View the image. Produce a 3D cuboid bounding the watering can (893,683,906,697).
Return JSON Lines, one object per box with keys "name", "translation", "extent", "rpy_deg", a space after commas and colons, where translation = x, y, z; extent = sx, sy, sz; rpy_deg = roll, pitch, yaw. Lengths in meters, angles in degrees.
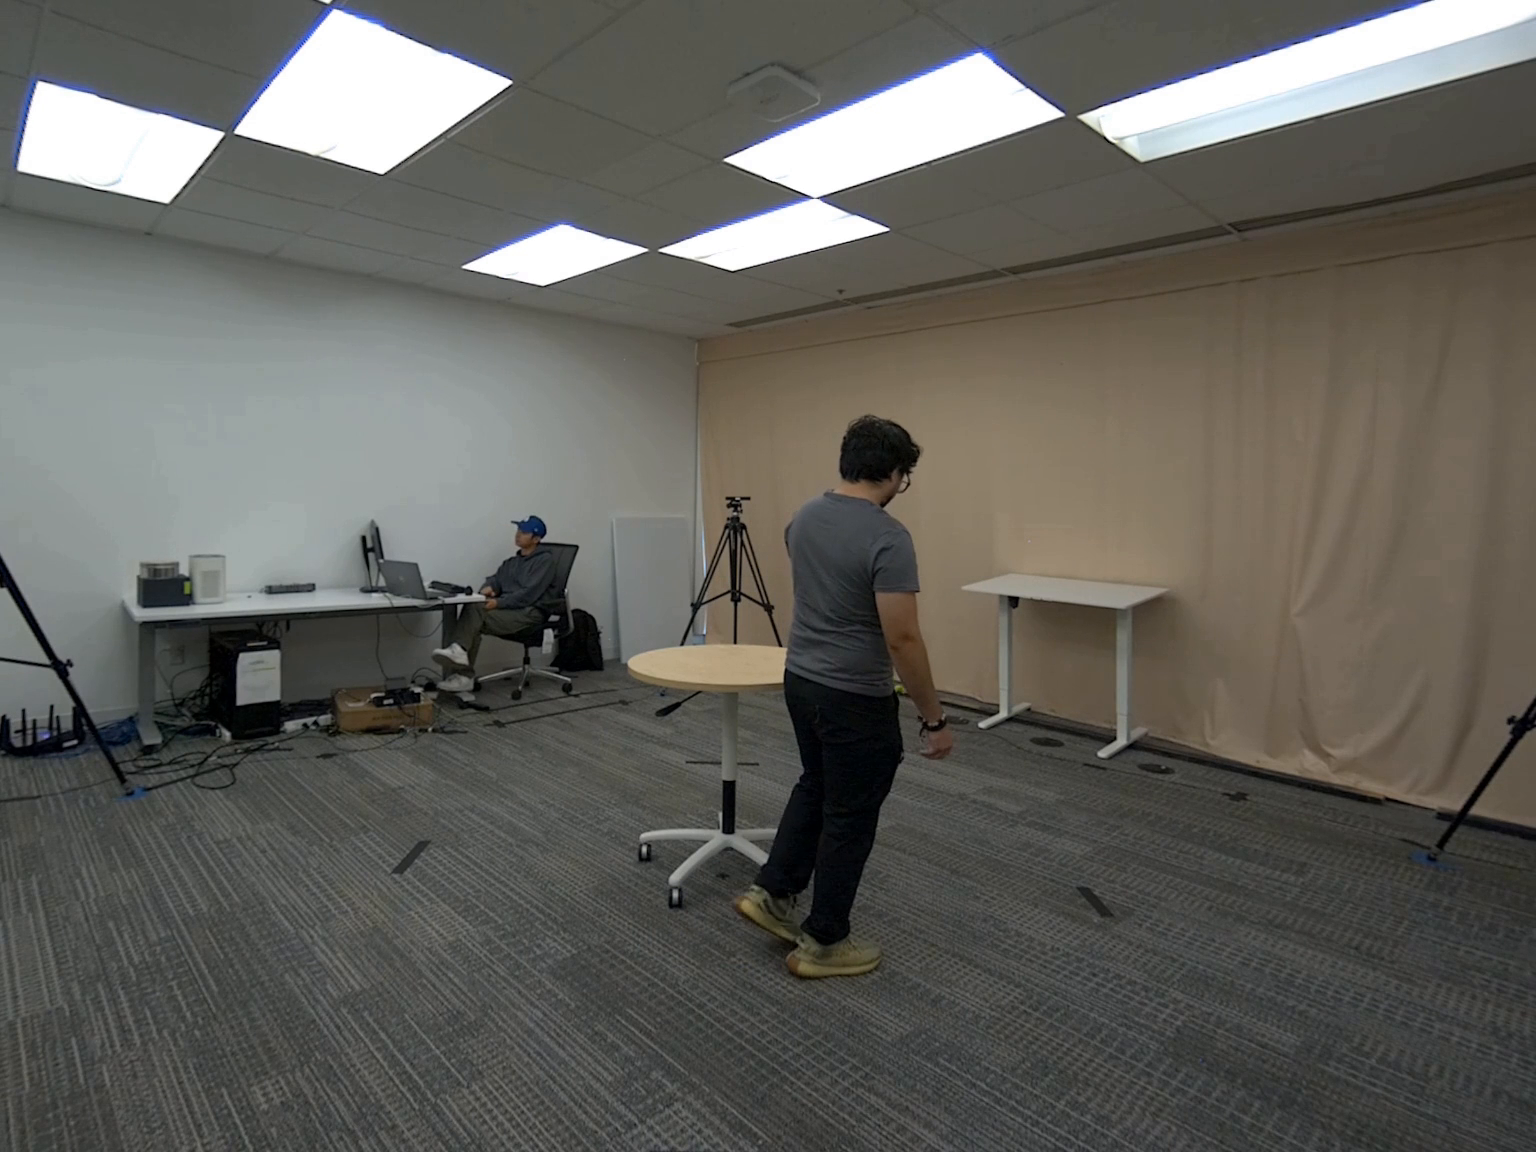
{"name": "watering can", "translation": [0.400, 0.349, 2.837], "extent": [0.098, 0.273, 0.179], "rpy_deg": [-39, 19, 32]}
